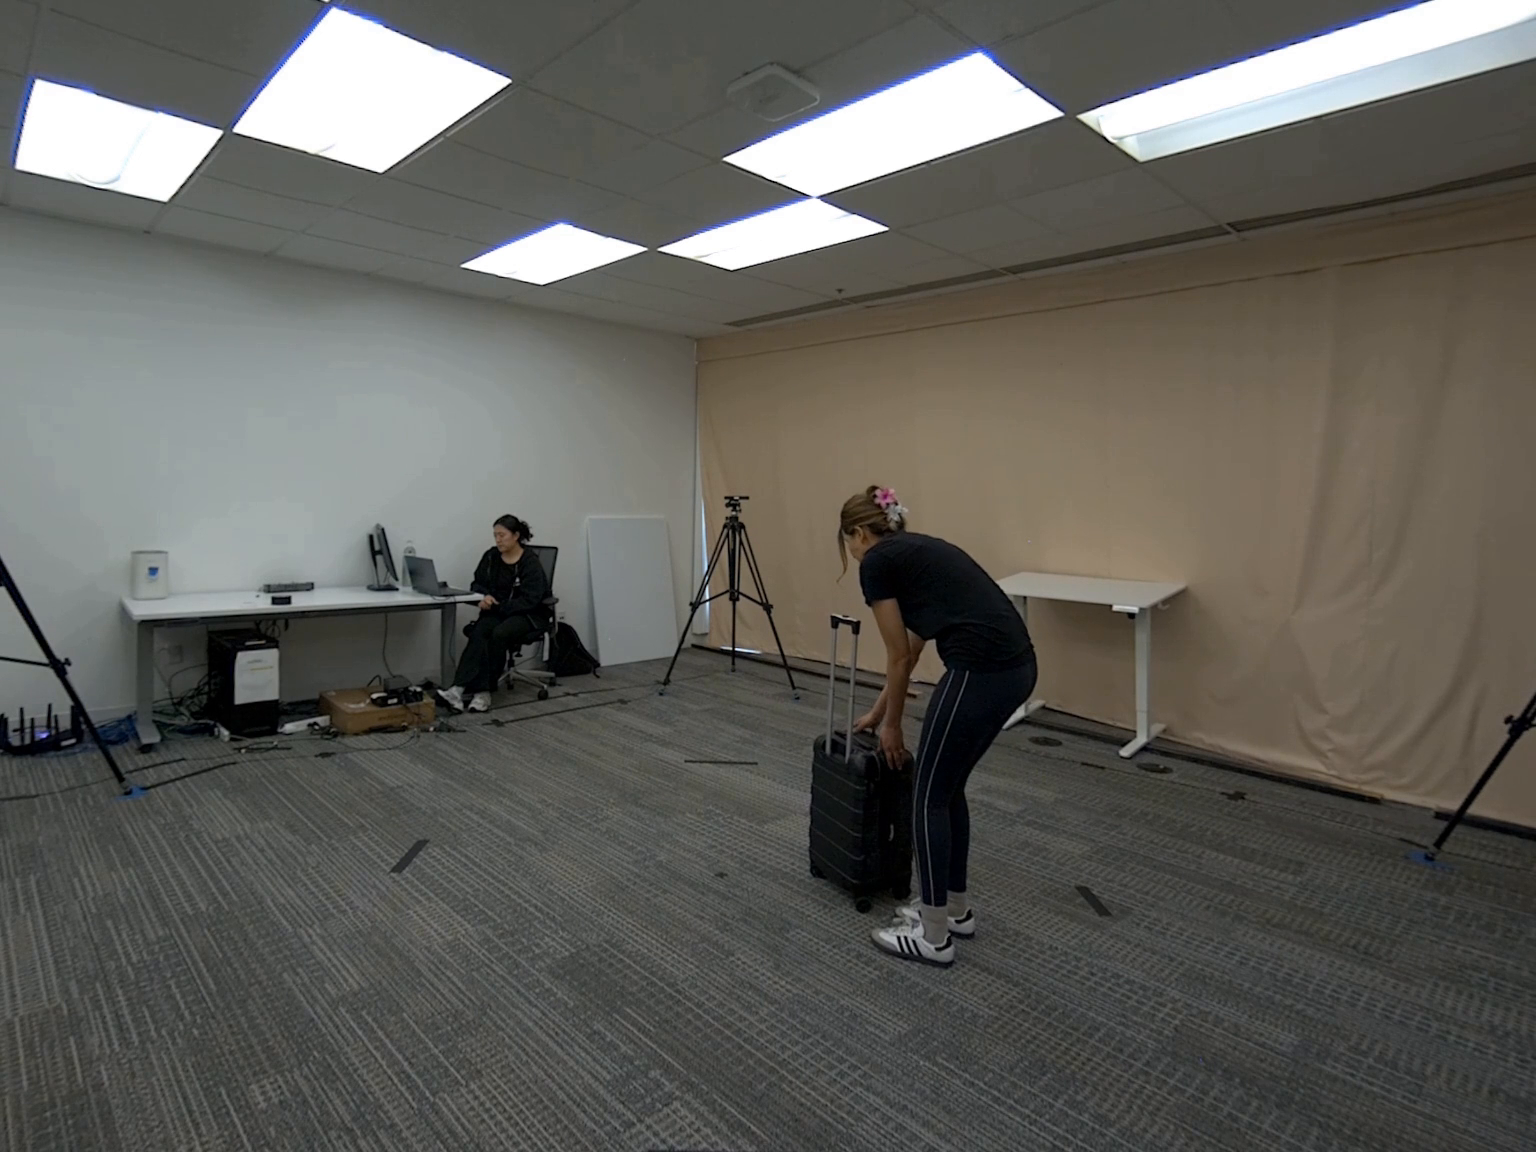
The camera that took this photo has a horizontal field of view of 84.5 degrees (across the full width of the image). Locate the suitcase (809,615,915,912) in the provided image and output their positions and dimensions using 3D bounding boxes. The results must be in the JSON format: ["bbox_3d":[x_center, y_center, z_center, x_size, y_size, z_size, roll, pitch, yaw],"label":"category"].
[{"bbox_3d":[0.338,0.648,3.016,0.253,0.977,0.391,1,3,-23],"label":"suitcase"}]
